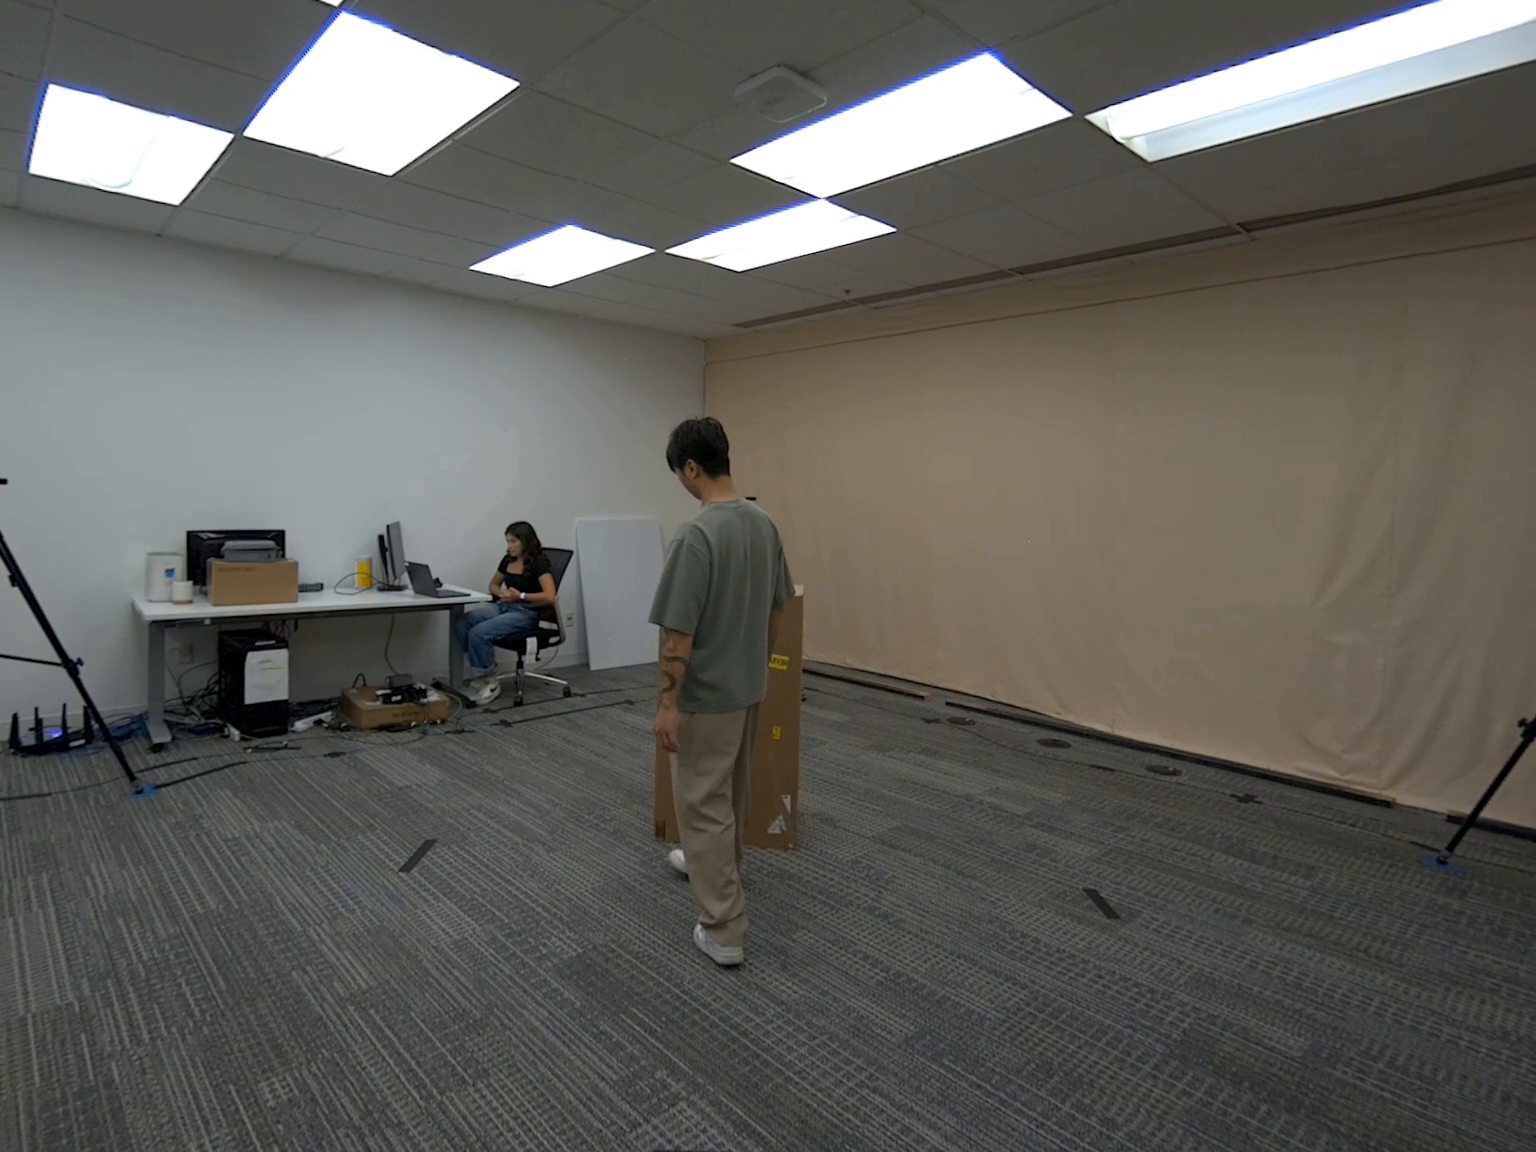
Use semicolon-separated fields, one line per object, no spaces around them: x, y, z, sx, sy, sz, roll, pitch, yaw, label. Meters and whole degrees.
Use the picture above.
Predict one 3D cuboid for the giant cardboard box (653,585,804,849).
-0.162;0.562;3.569;0.579;1.024;0.426;2;2;3;giant cardboard box
